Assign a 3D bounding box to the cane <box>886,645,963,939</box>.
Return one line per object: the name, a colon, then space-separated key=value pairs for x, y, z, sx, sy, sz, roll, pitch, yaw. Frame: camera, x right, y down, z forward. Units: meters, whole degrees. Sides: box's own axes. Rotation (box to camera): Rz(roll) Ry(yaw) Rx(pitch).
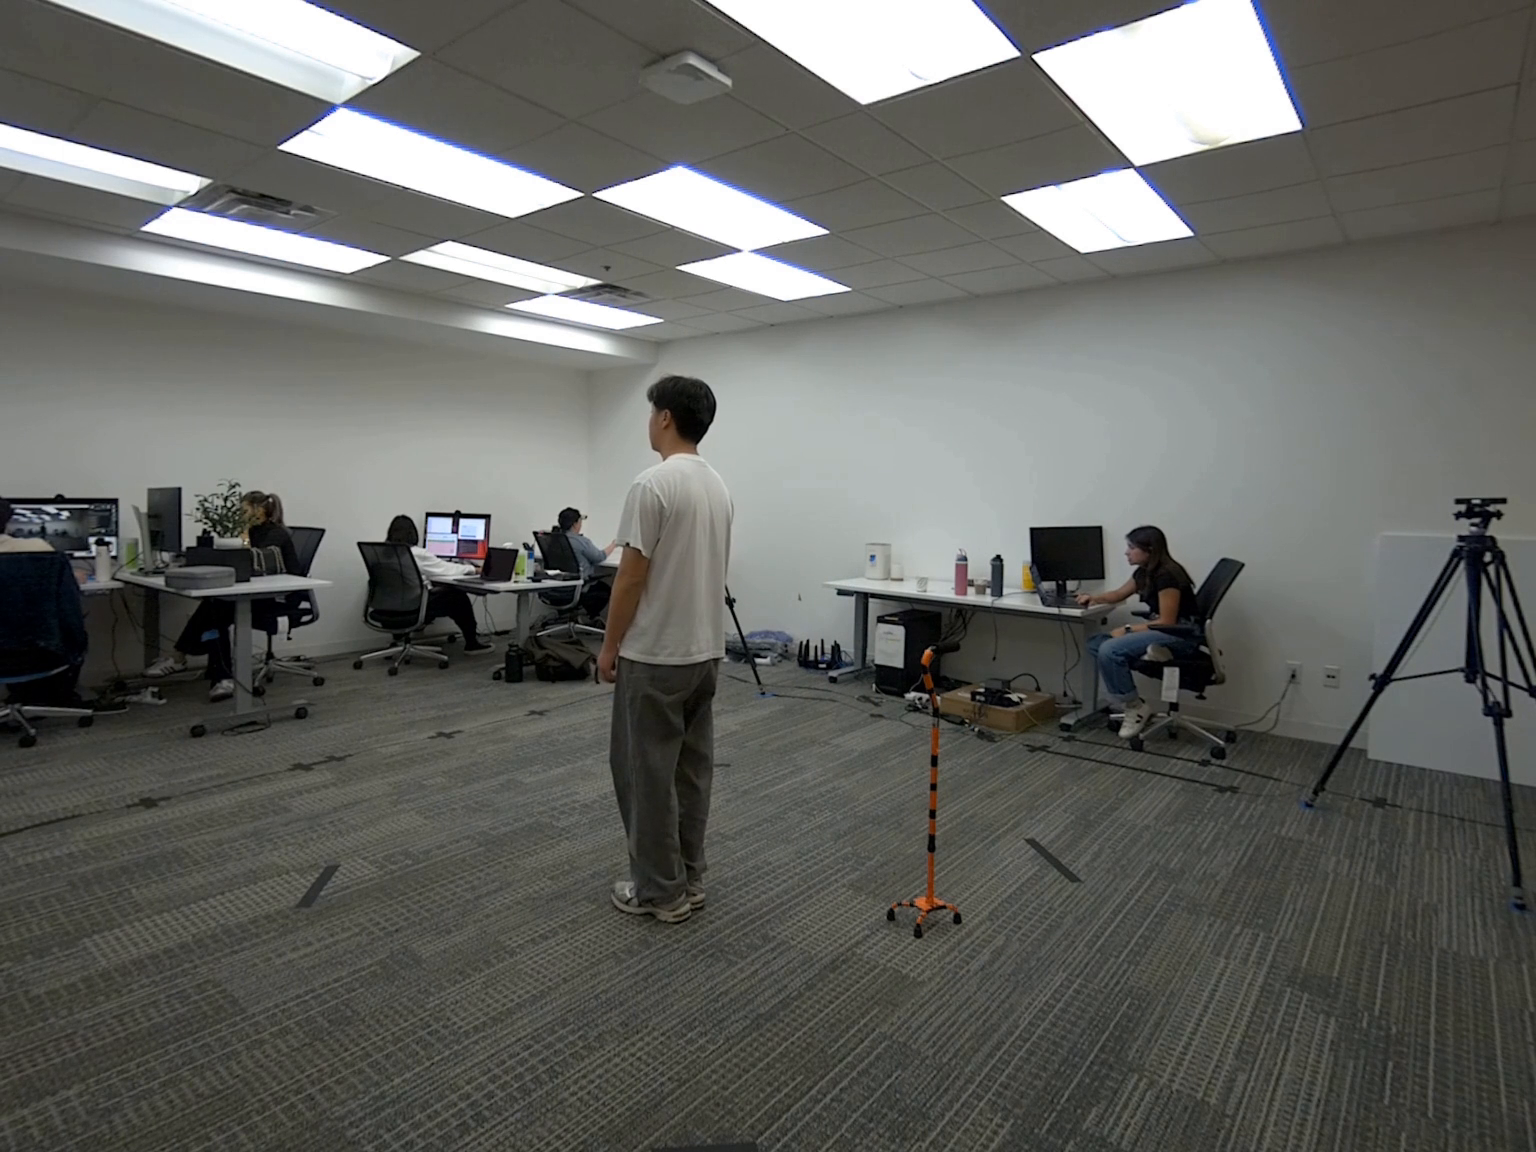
cane: x=0.529 y=0.671 z=2.742 sx=0.201 sy=0.905 sz=0.156 roll=-1 pitch=4 yaw=-33
